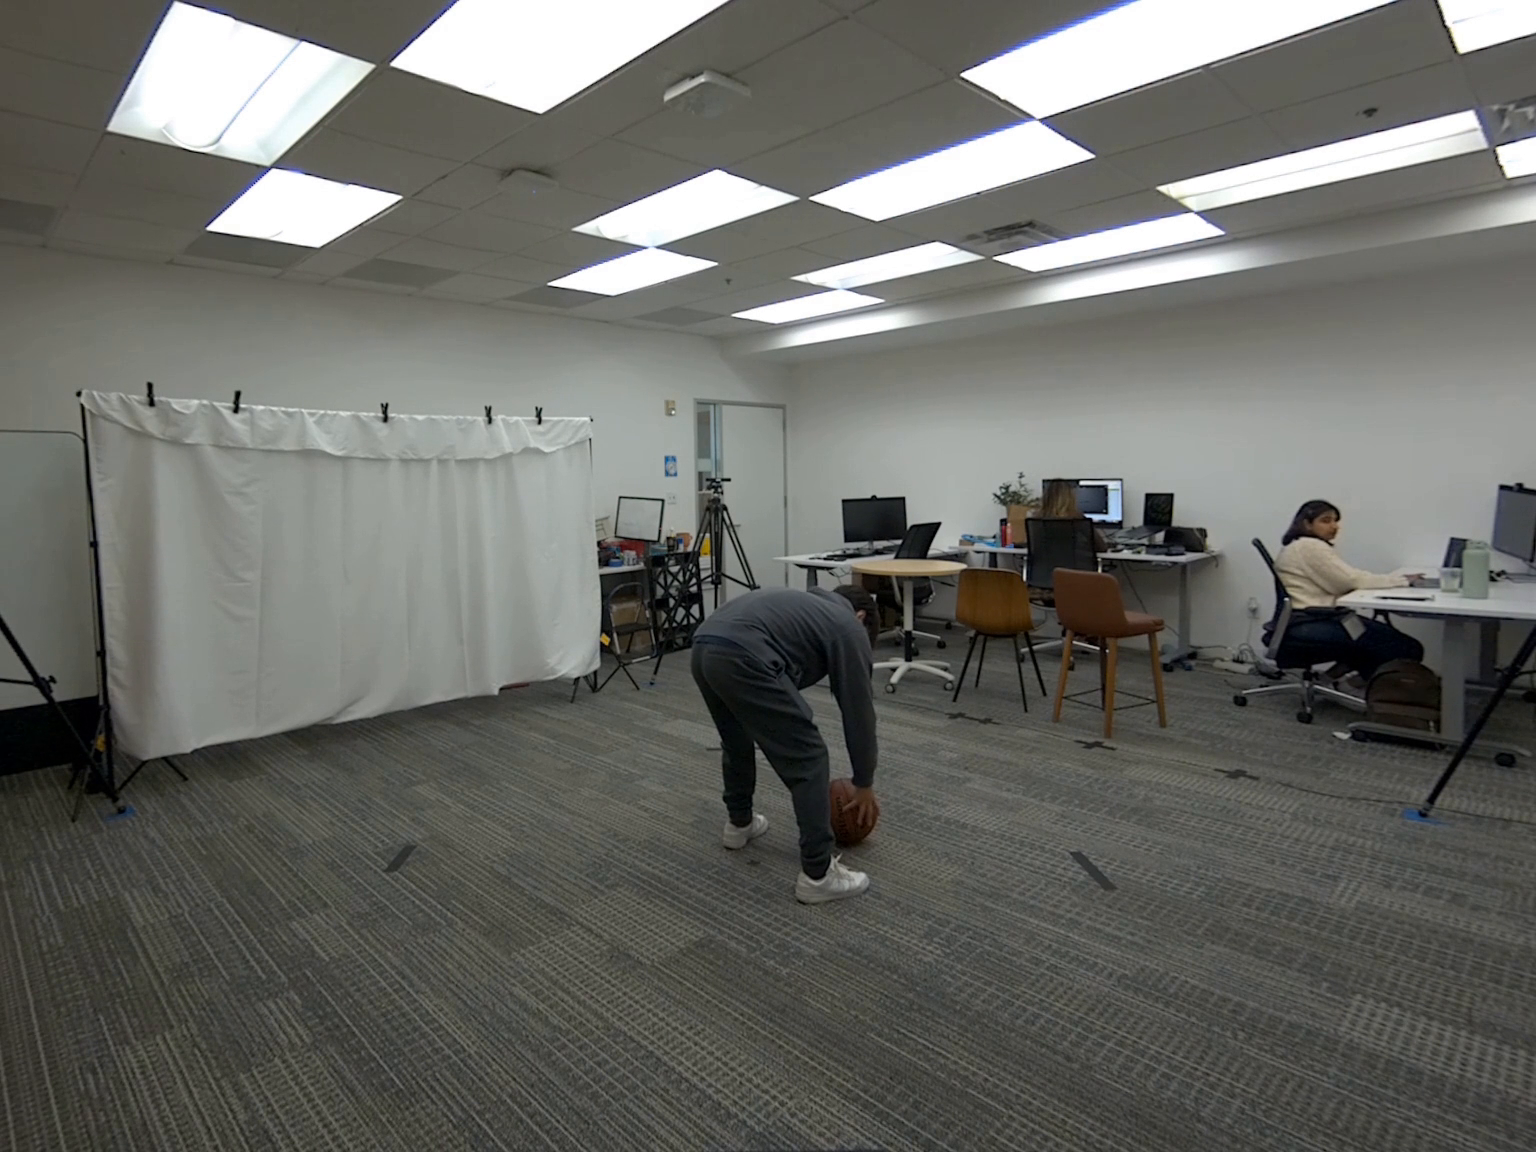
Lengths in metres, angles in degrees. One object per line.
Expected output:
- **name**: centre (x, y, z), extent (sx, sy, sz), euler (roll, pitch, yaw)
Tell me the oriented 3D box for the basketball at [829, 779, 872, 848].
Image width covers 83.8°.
- **basketball**: centre (0.303, 0.895, 3.274), extent (0.236, 0.235, 0.237), euler (-1, 5, -2)
